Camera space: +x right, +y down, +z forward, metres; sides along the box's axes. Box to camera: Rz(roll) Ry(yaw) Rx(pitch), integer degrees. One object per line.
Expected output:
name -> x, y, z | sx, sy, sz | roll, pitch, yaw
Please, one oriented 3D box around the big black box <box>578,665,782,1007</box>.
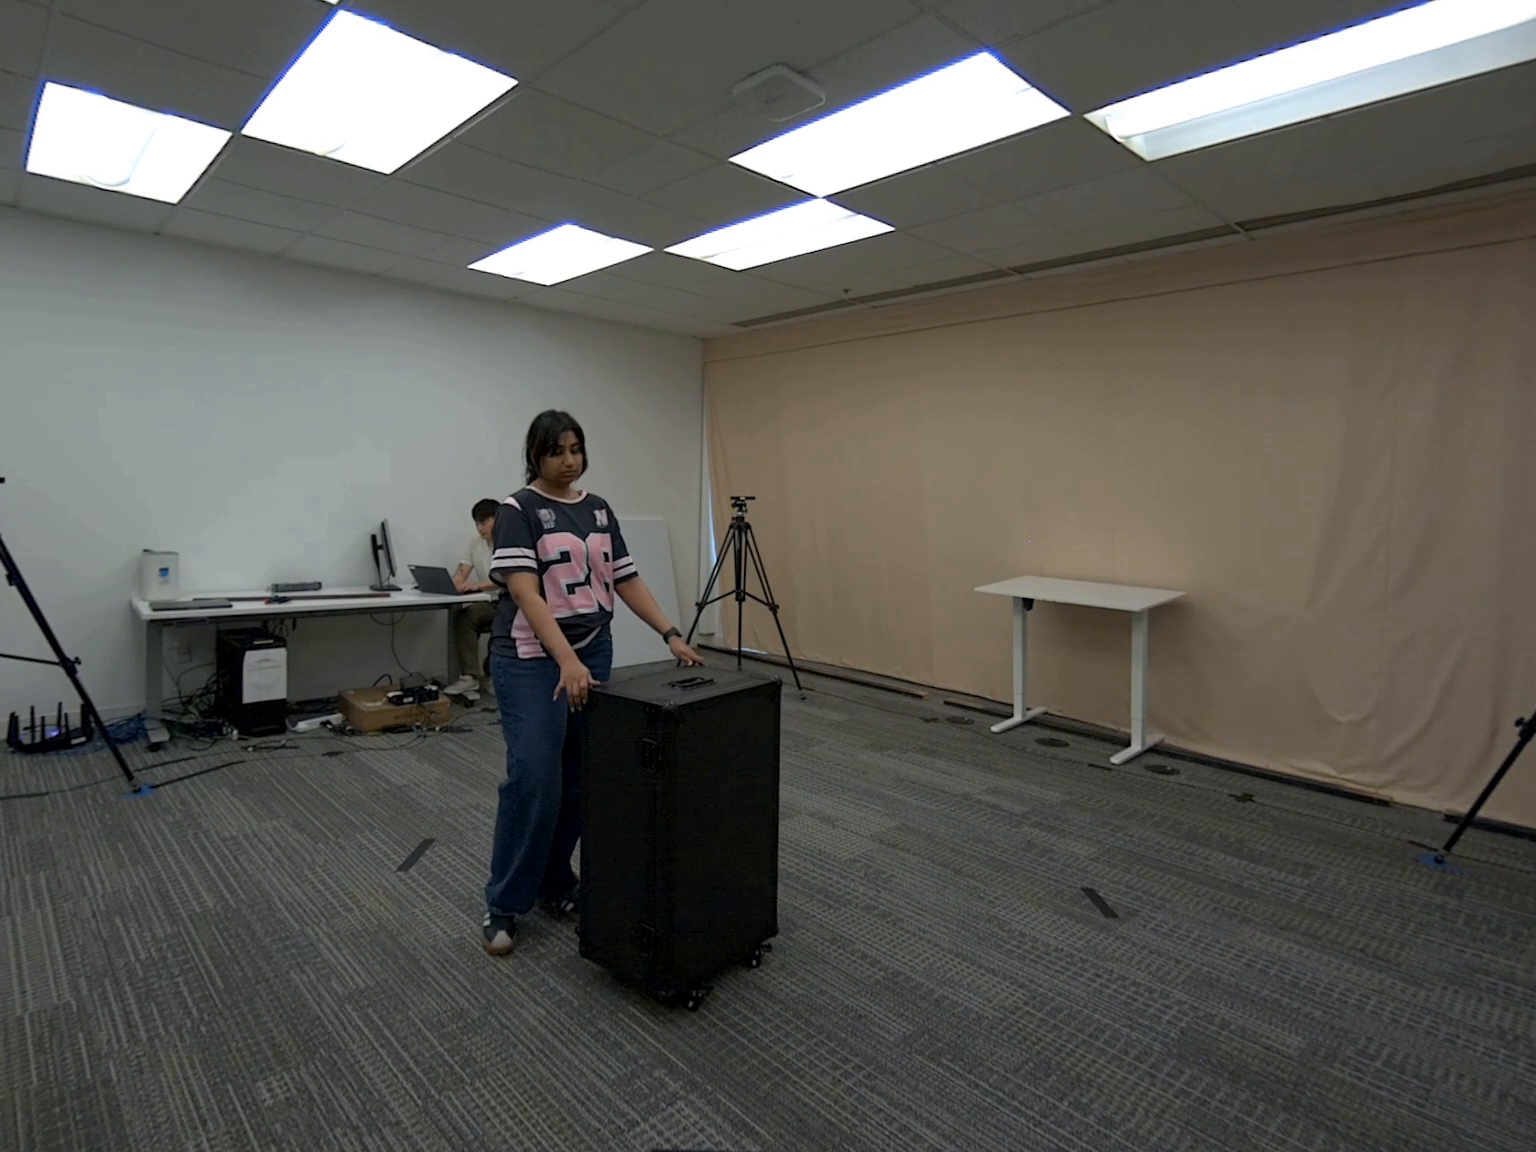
big black box -> -0.263, 0.741, 2.460 | 0.394, 0.867, 0.512 | 3, 3, 38
